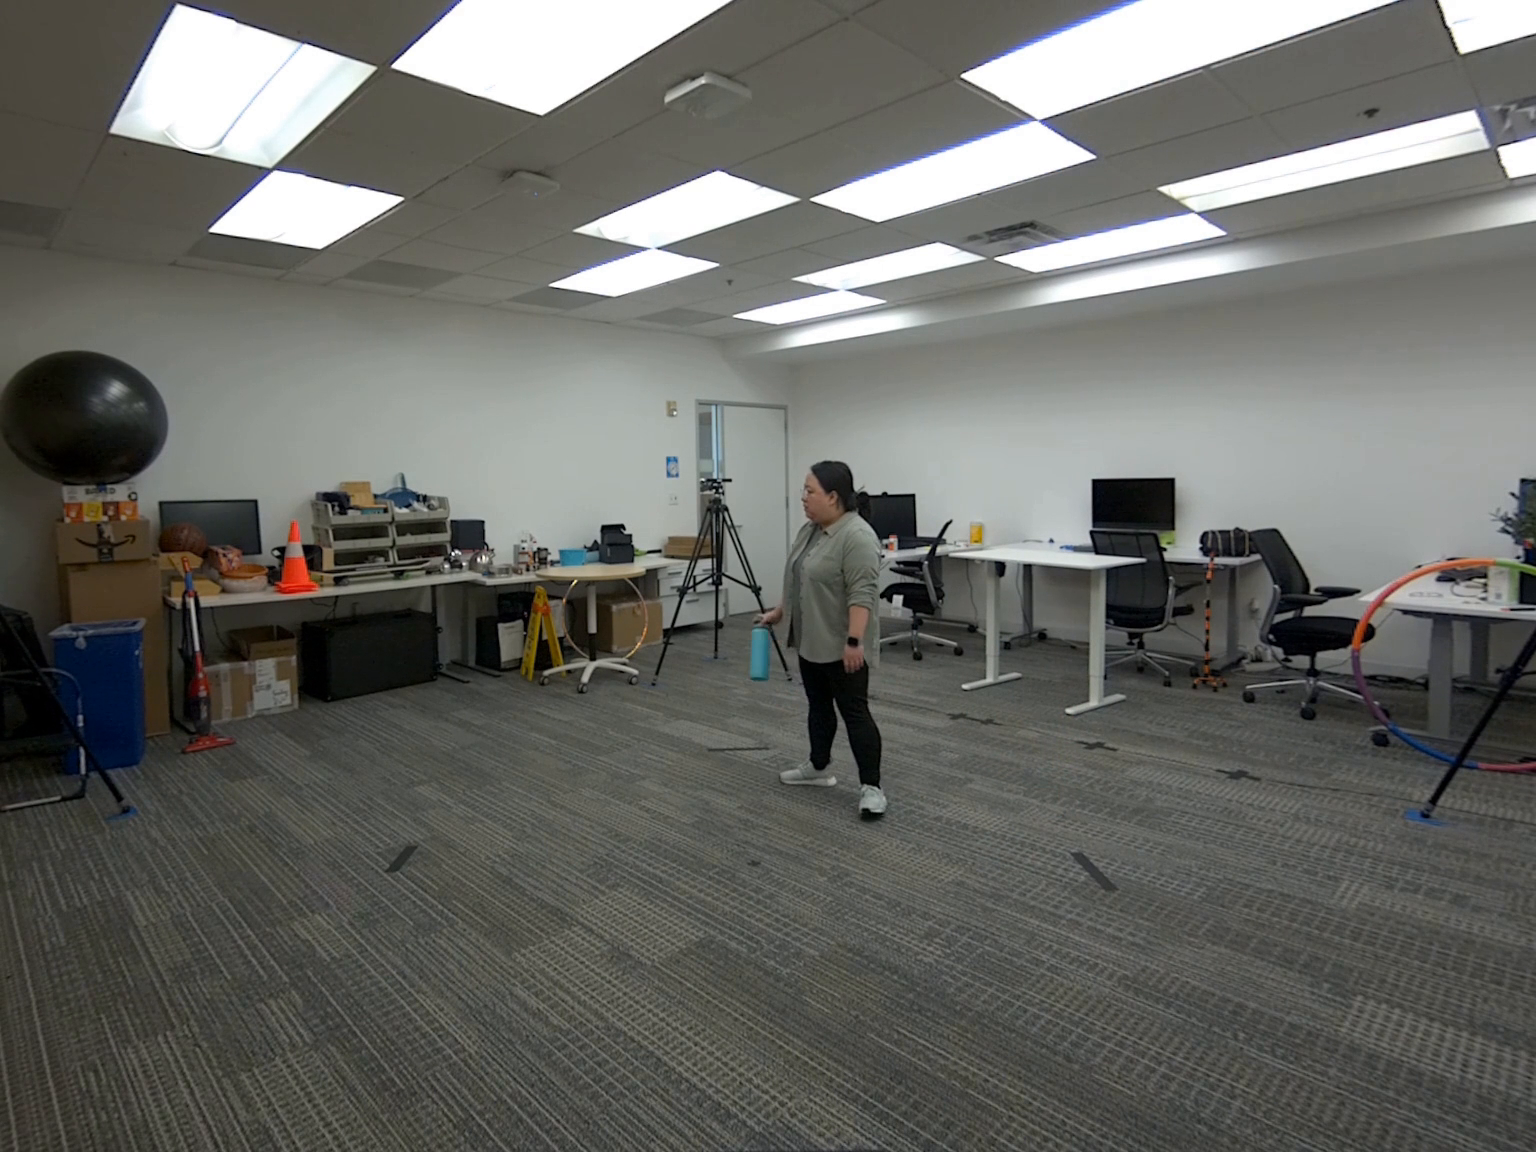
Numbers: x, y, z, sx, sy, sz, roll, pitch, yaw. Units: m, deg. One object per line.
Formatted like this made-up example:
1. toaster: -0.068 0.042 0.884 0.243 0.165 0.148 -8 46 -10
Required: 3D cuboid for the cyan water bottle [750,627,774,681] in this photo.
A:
1. cyan water bottle: -0.030 0.329 3.934 0.092 0.288 0.091 0 -18 -2
